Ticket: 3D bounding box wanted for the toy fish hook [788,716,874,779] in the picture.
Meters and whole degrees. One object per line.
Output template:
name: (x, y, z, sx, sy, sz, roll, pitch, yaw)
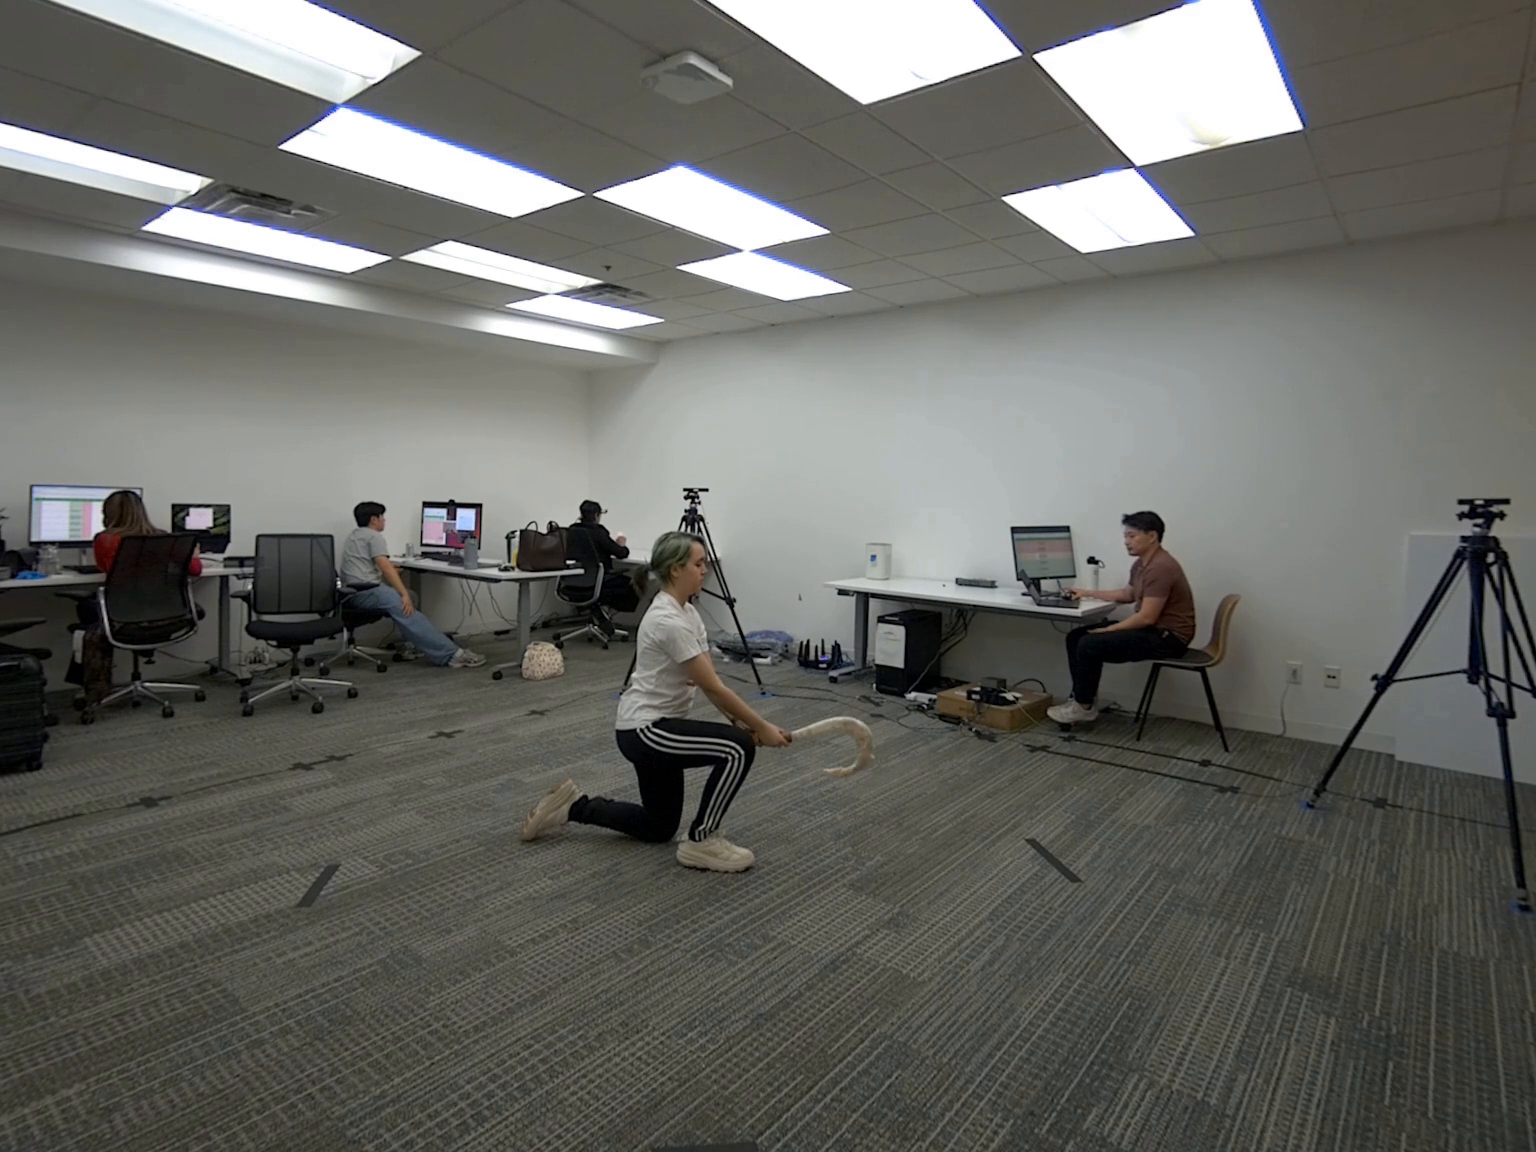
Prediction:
toy fish hook: (0.145, 0.644, 3.247, 0.510, 0.228, 0.047, -6, -14, 8)
